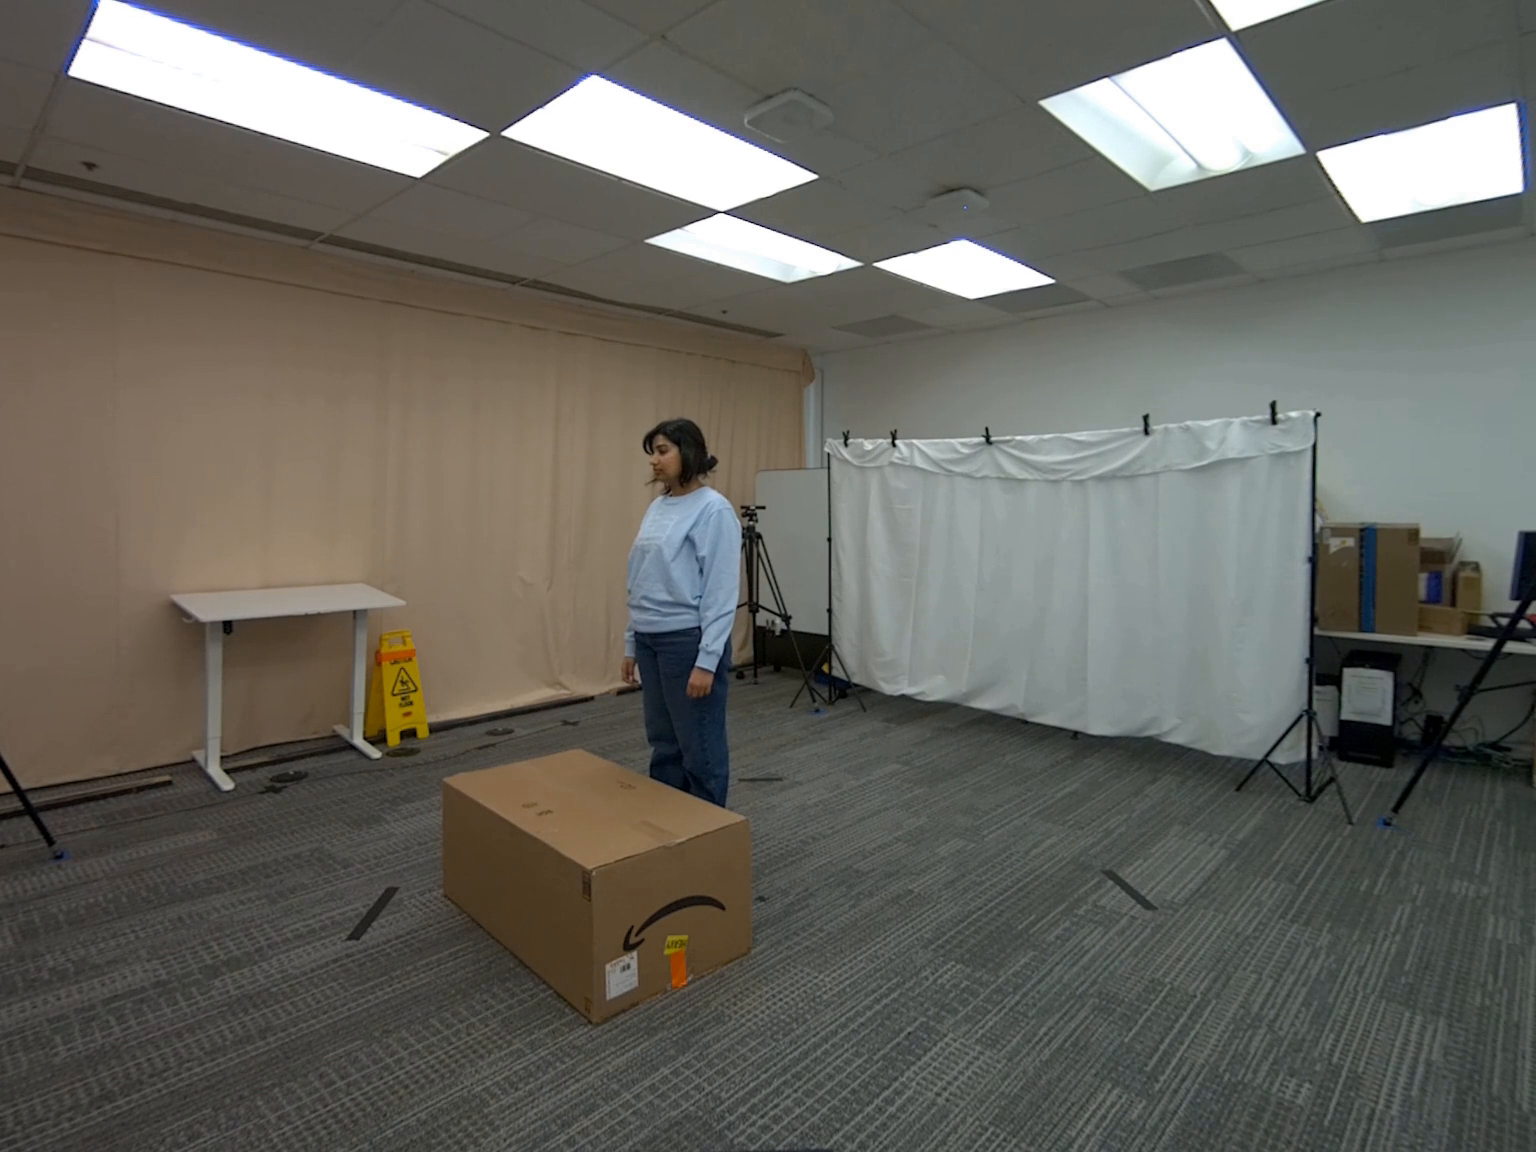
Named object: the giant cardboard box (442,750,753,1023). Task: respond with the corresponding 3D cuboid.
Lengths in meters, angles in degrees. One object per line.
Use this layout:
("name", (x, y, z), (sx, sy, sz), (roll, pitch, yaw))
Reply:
("giant cardboard box", (-0.611, 0.949, 2.816), (0.560, 0.425, 1.060), (-4, 6, -41))
